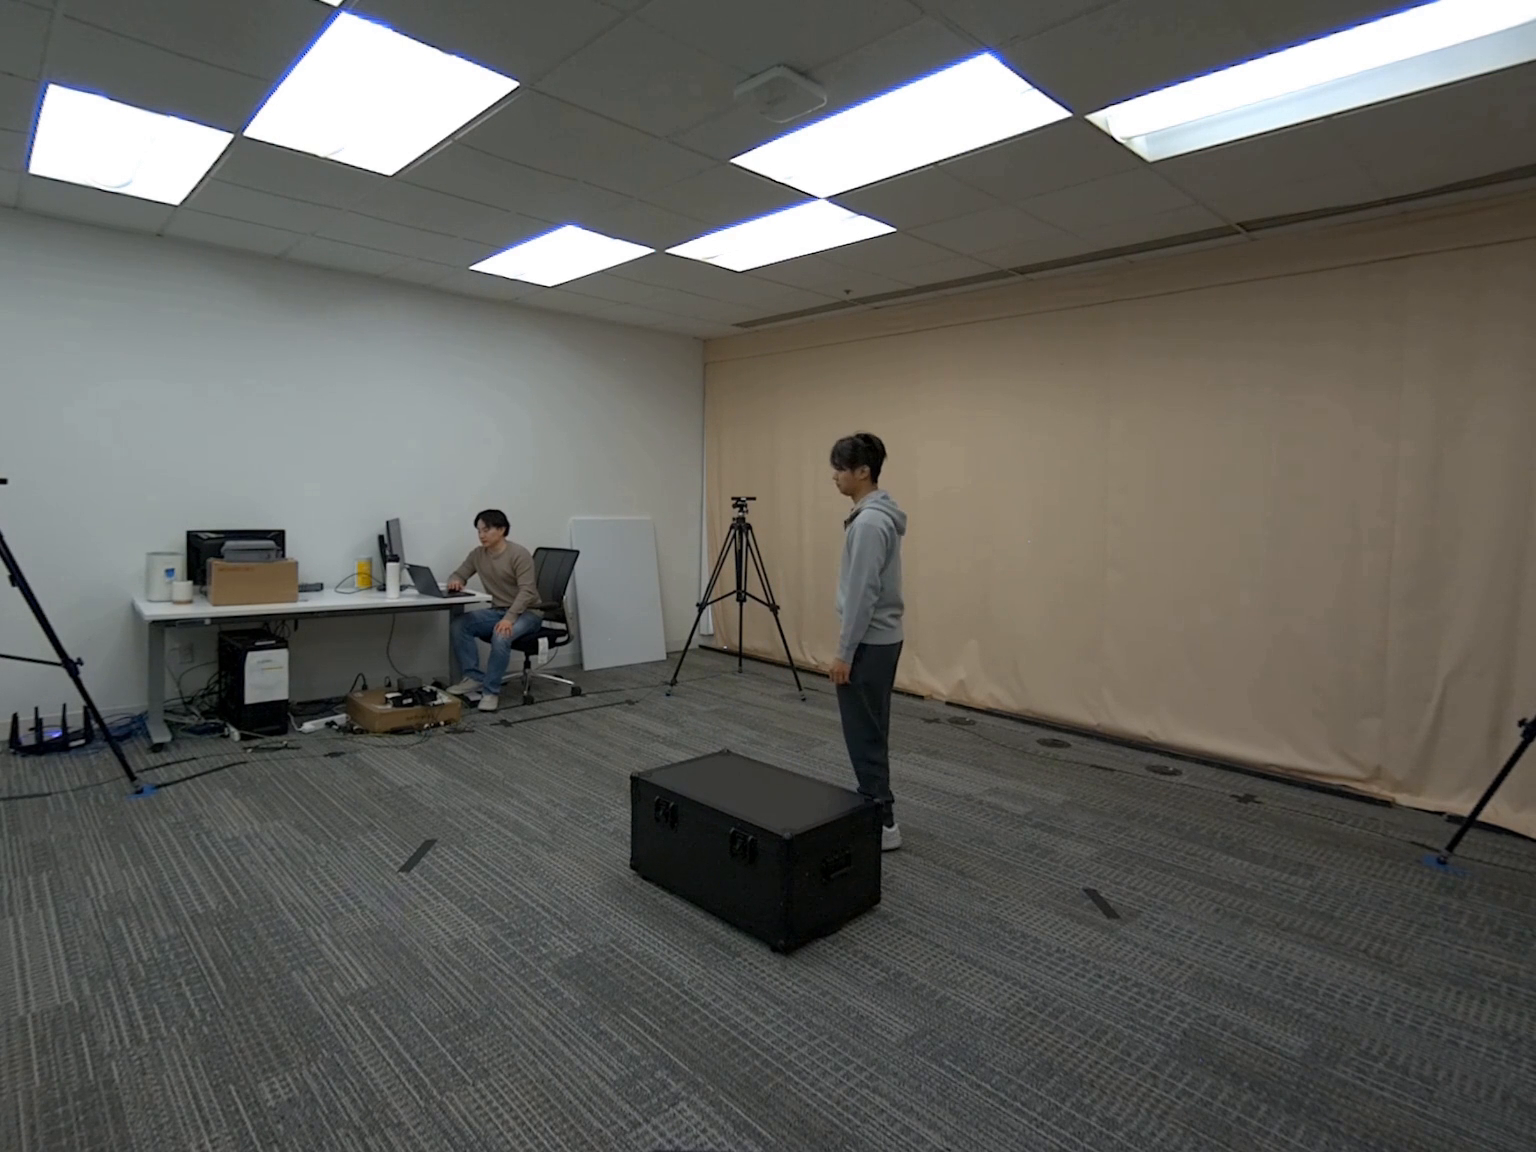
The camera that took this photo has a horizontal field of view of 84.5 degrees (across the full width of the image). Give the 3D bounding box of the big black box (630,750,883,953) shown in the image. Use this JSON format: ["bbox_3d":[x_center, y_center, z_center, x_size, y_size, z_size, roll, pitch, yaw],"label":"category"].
[{"bbox_3d":[-0.087,0.927,2.997,0.884,0.395,0.509,7,7,44],"label":"big black box"}]
